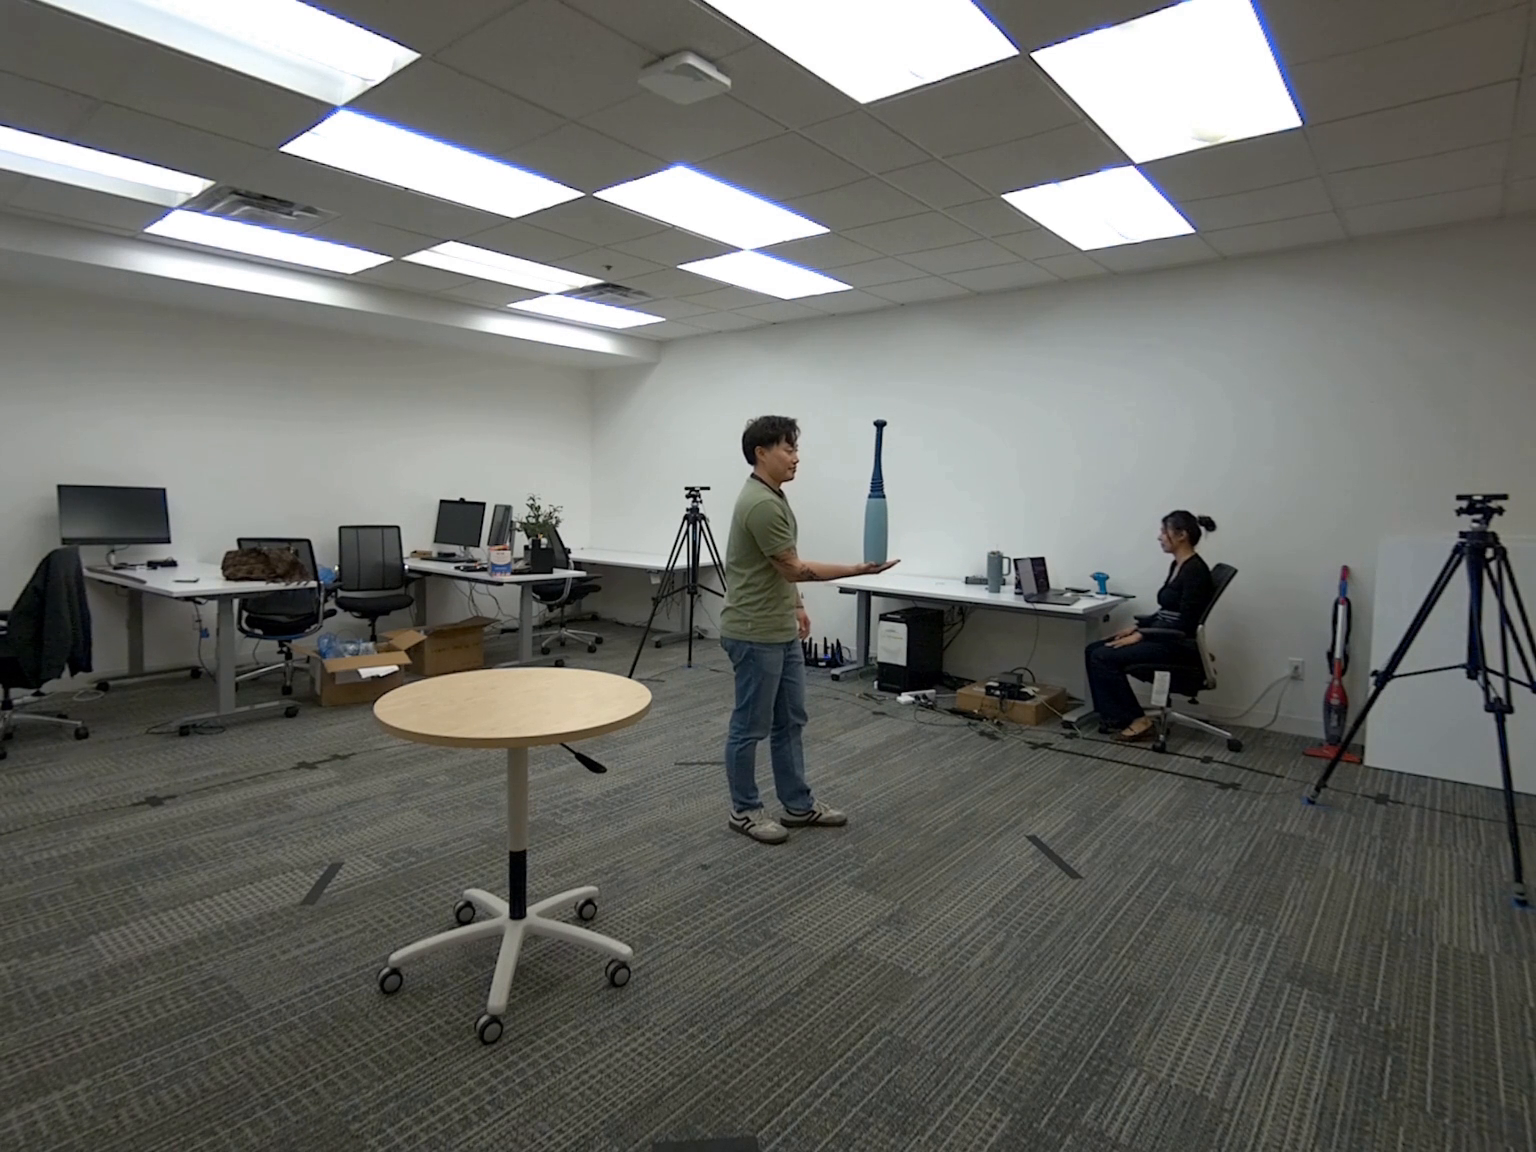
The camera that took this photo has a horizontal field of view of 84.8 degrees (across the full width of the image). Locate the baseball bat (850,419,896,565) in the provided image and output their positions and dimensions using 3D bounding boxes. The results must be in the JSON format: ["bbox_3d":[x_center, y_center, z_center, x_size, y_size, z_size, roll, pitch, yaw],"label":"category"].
[{"bbox_3d":[0.390,-0.309,3.148,0.089,0.543,0.089,7,0,-2],"label":"baseball bat"}]
